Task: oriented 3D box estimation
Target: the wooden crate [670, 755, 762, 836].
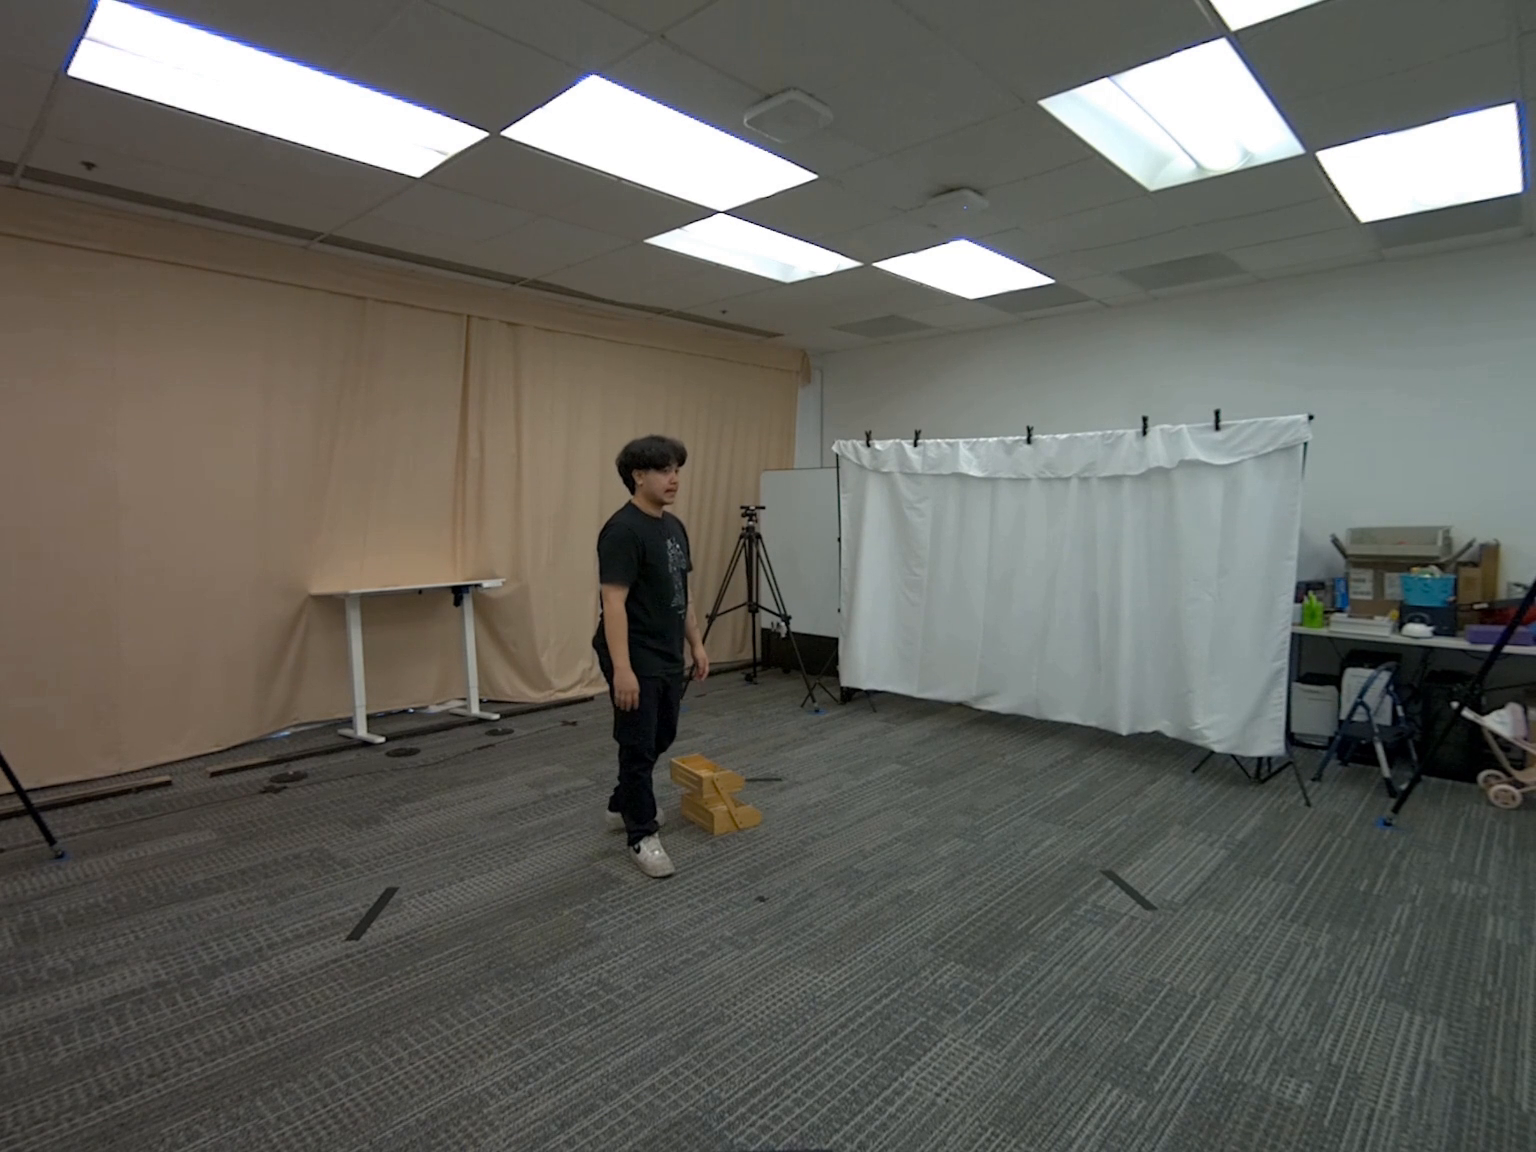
[{"bbox_3d":[-0.231,0.954,3.734,0.294,0.272,0.334,-4,5,-32],"label":"wooden crate"}]
